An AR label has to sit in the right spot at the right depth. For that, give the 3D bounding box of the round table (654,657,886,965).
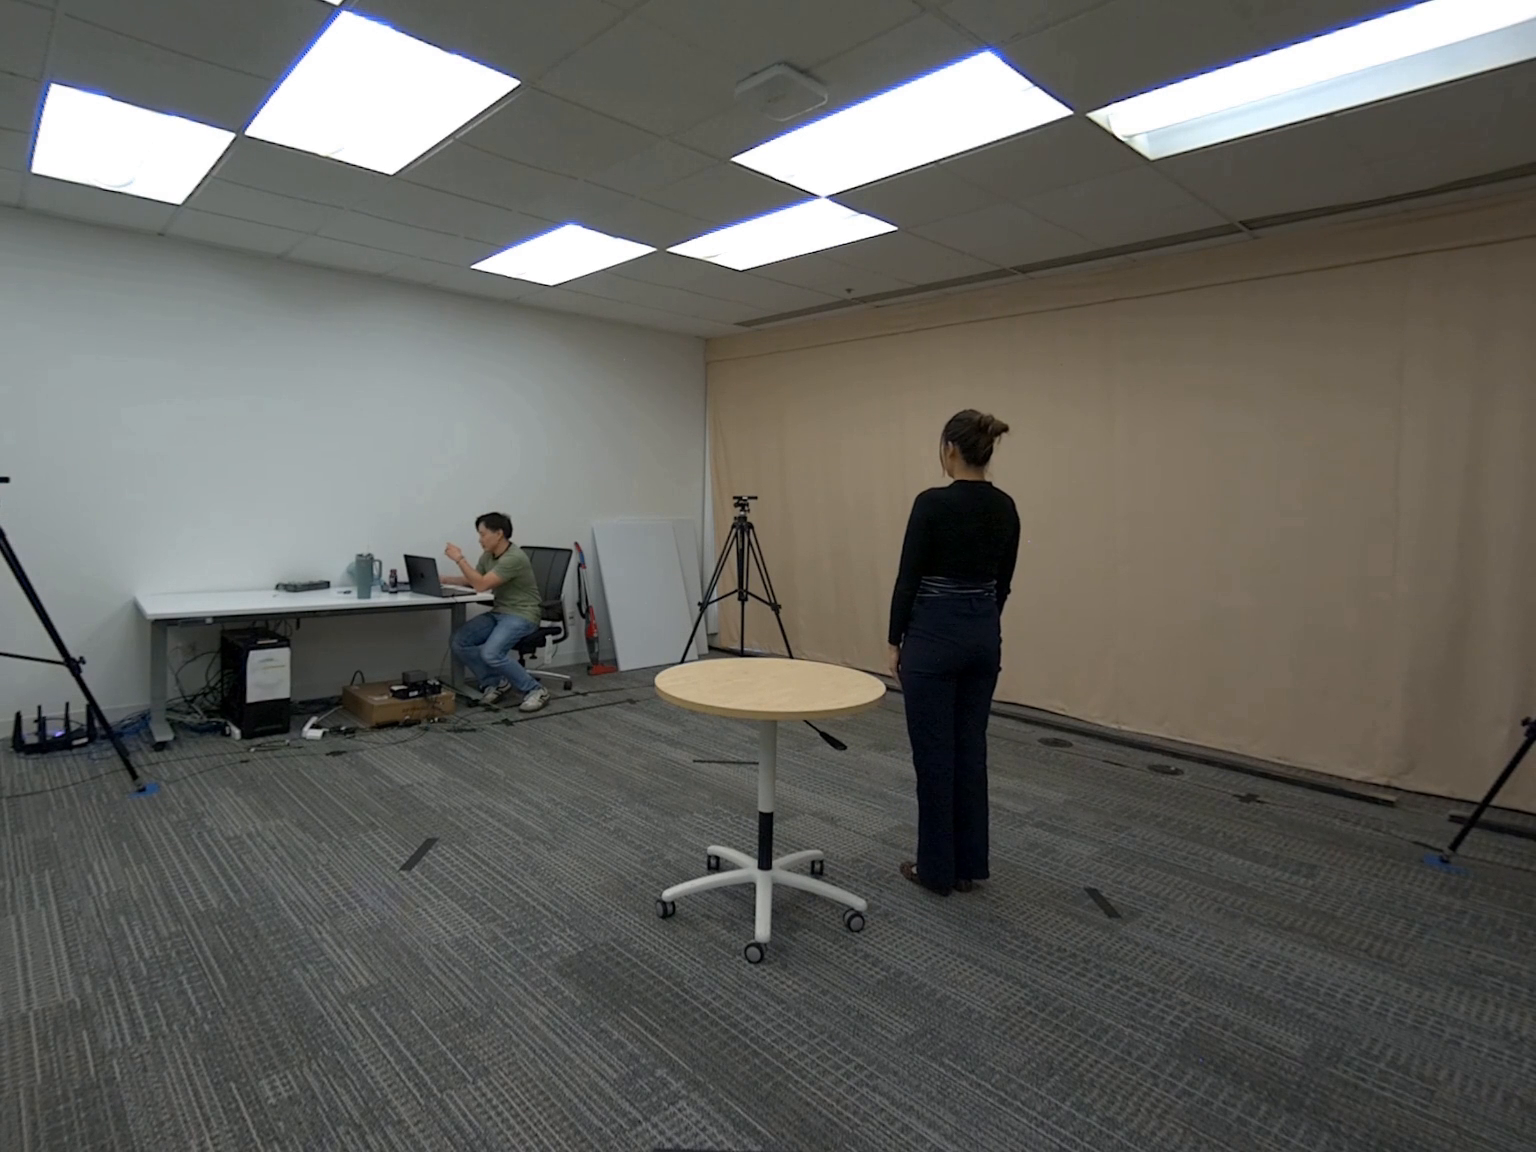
[{"bbox_3d":[-0.016,0.745,2.829,0.763,0.791,0.767,1,5,-1],"label":"round table"}]
